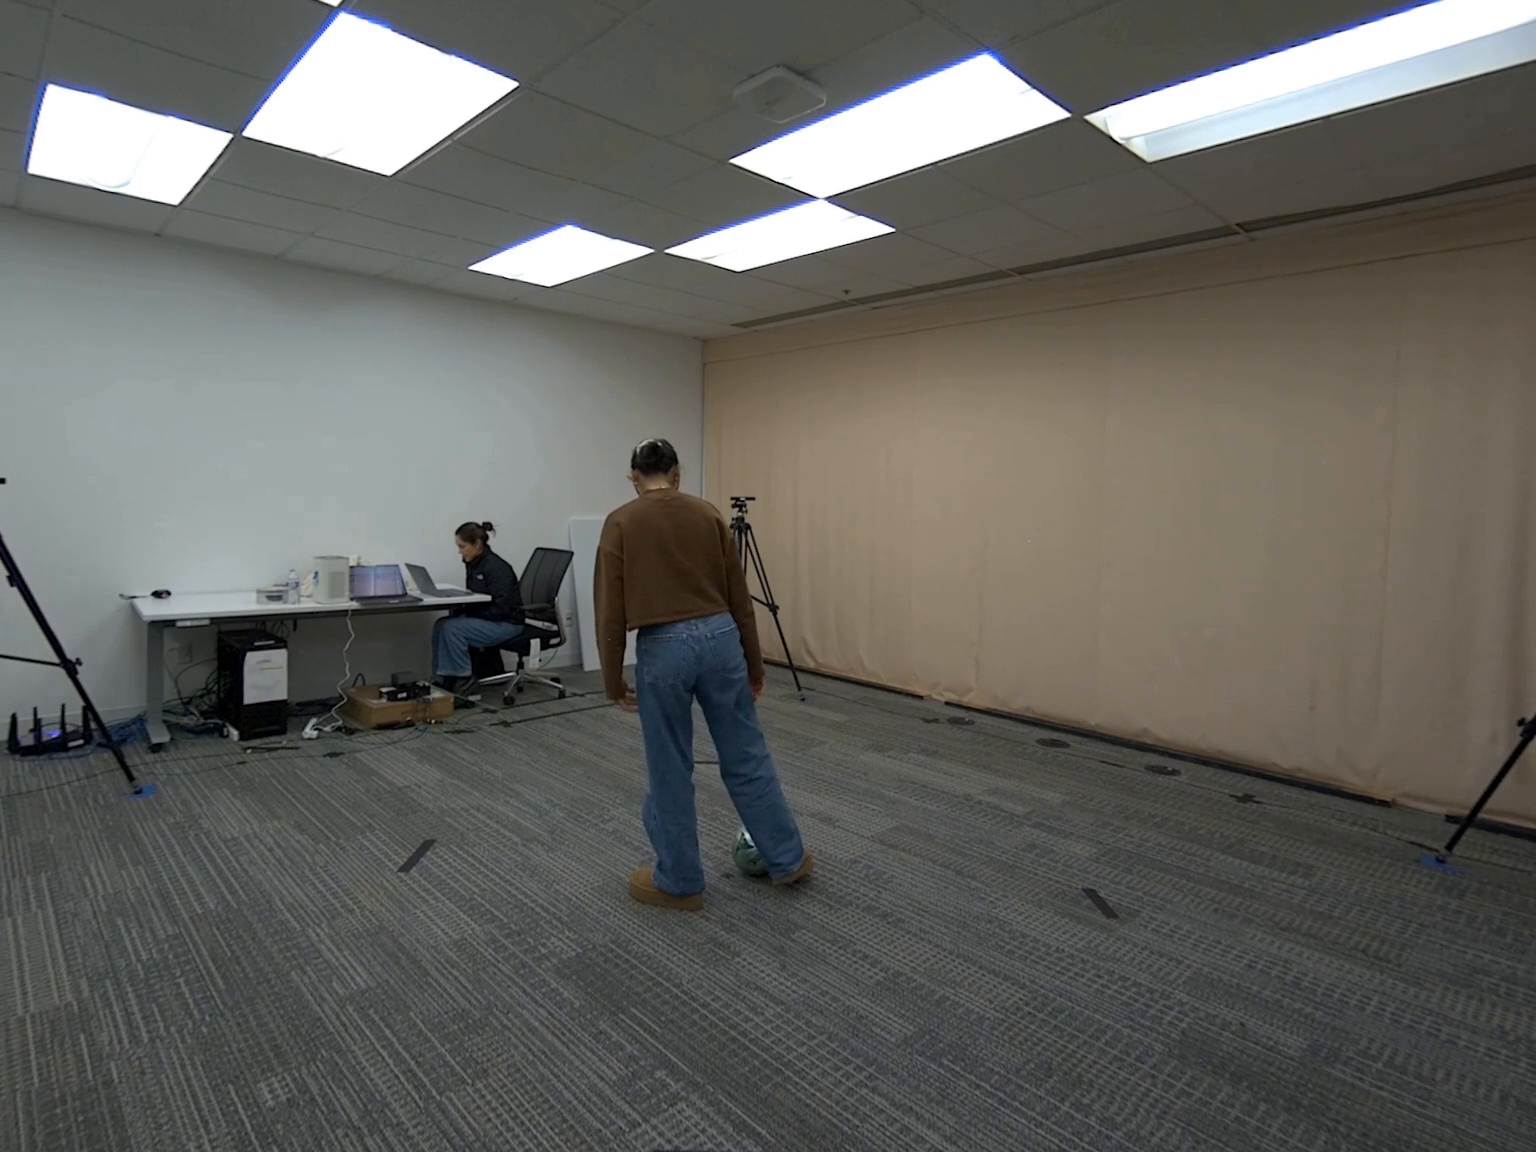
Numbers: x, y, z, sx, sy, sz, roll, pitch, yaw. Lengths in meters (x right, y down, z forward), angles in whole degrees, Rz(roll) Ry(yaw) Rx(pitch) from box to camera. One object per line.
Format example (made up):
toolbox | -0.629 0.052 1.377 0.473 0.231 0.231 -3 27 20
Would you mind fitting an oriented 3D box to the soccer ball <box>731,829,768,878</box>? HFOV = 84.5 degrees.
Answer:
soccer ball | -0.061 1.012 3.130 0.187 0.187 0.188 1 4 -1
